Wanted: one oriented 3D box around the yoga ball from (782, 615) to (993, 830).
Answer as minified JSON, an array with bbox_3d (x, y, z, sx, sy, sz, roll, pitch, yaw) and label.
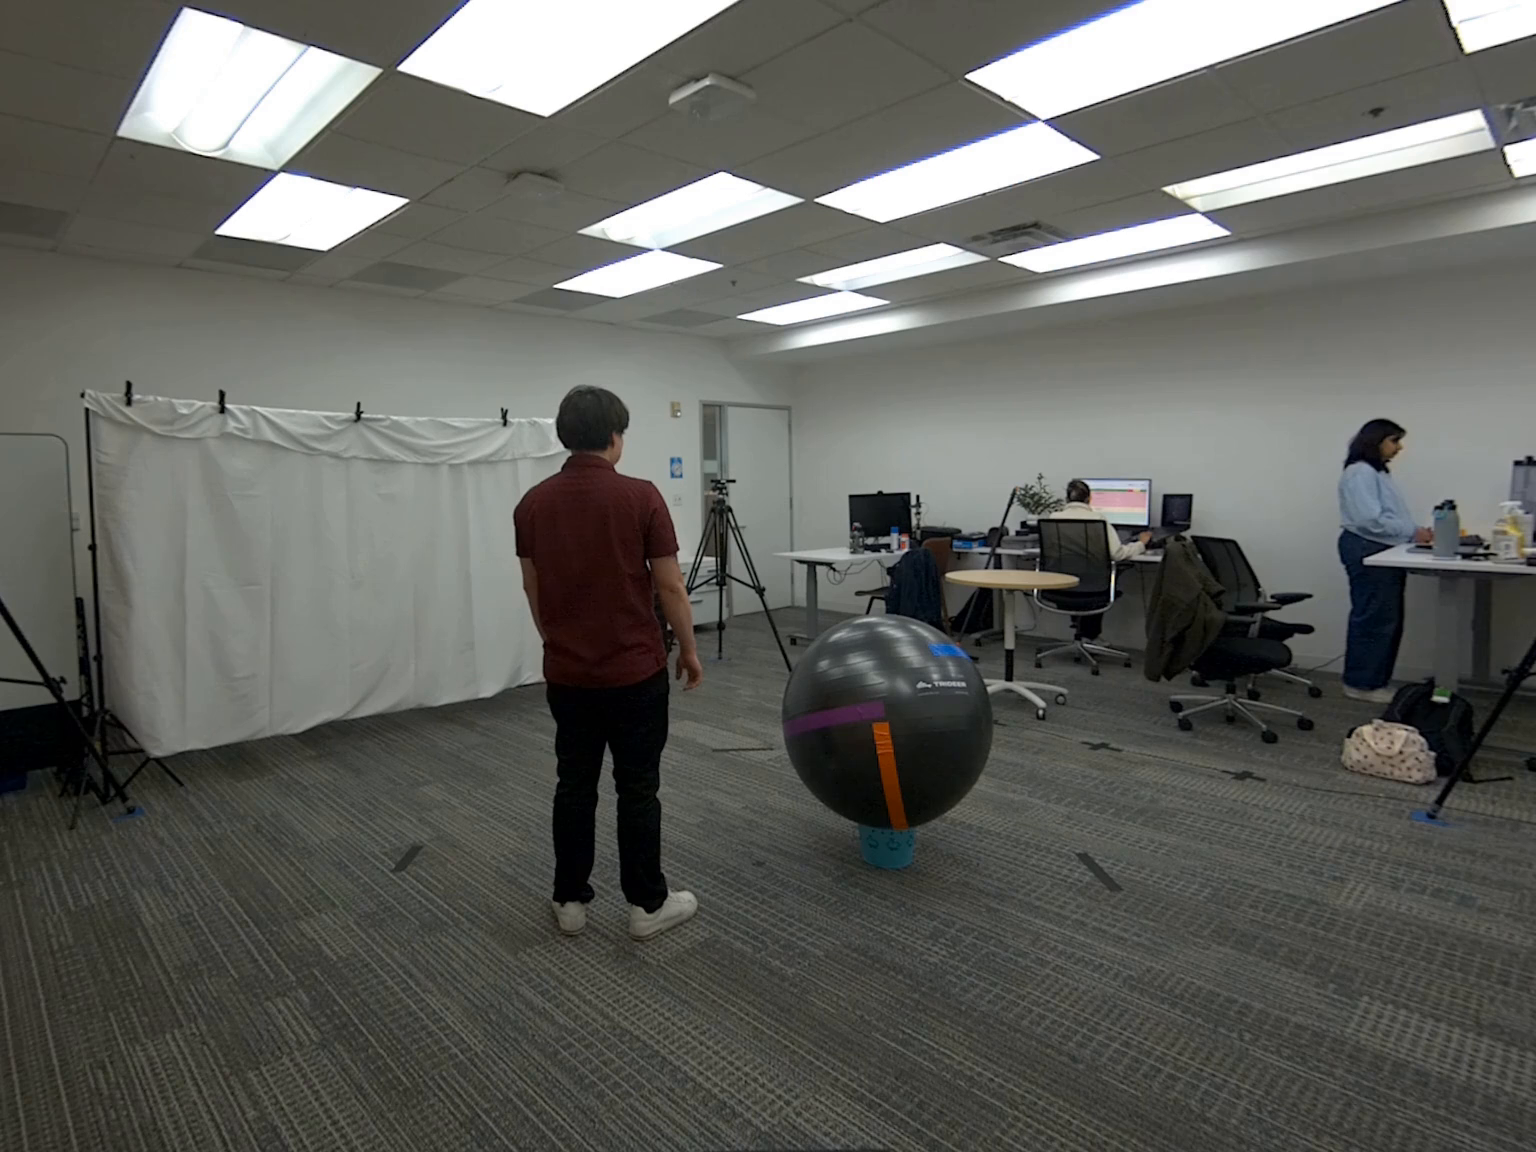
[{"bbox_3d":[0.431,0.528,3.123,0.757,0.755,0.762,-1,5,-2],"label":"yoga ball"}]
